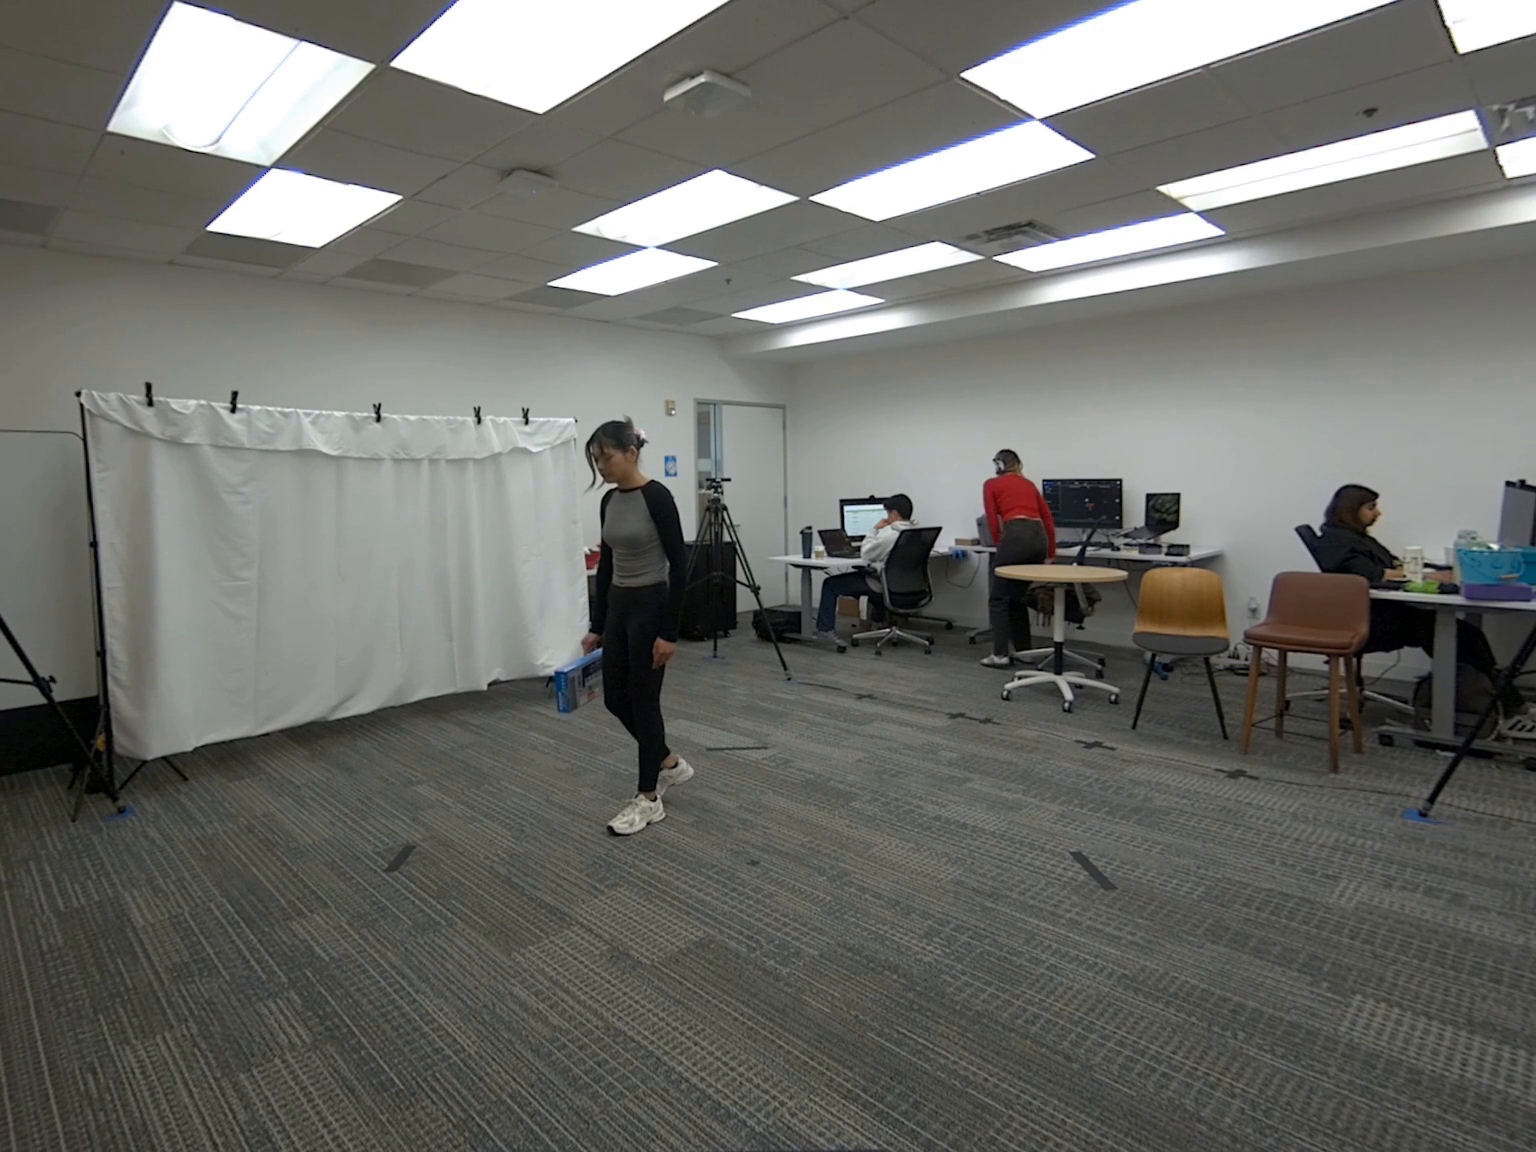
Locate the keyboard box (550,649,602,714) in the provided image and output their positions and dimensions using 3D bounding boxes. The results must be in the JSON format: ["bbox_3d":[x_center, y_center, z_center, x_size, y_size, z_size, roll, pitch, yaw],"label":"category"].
[{"bbox_3d":[-0.728,0.415,3.576,0.060,0.174,0.431,1,11,22],"label":"keyboard box"}]
